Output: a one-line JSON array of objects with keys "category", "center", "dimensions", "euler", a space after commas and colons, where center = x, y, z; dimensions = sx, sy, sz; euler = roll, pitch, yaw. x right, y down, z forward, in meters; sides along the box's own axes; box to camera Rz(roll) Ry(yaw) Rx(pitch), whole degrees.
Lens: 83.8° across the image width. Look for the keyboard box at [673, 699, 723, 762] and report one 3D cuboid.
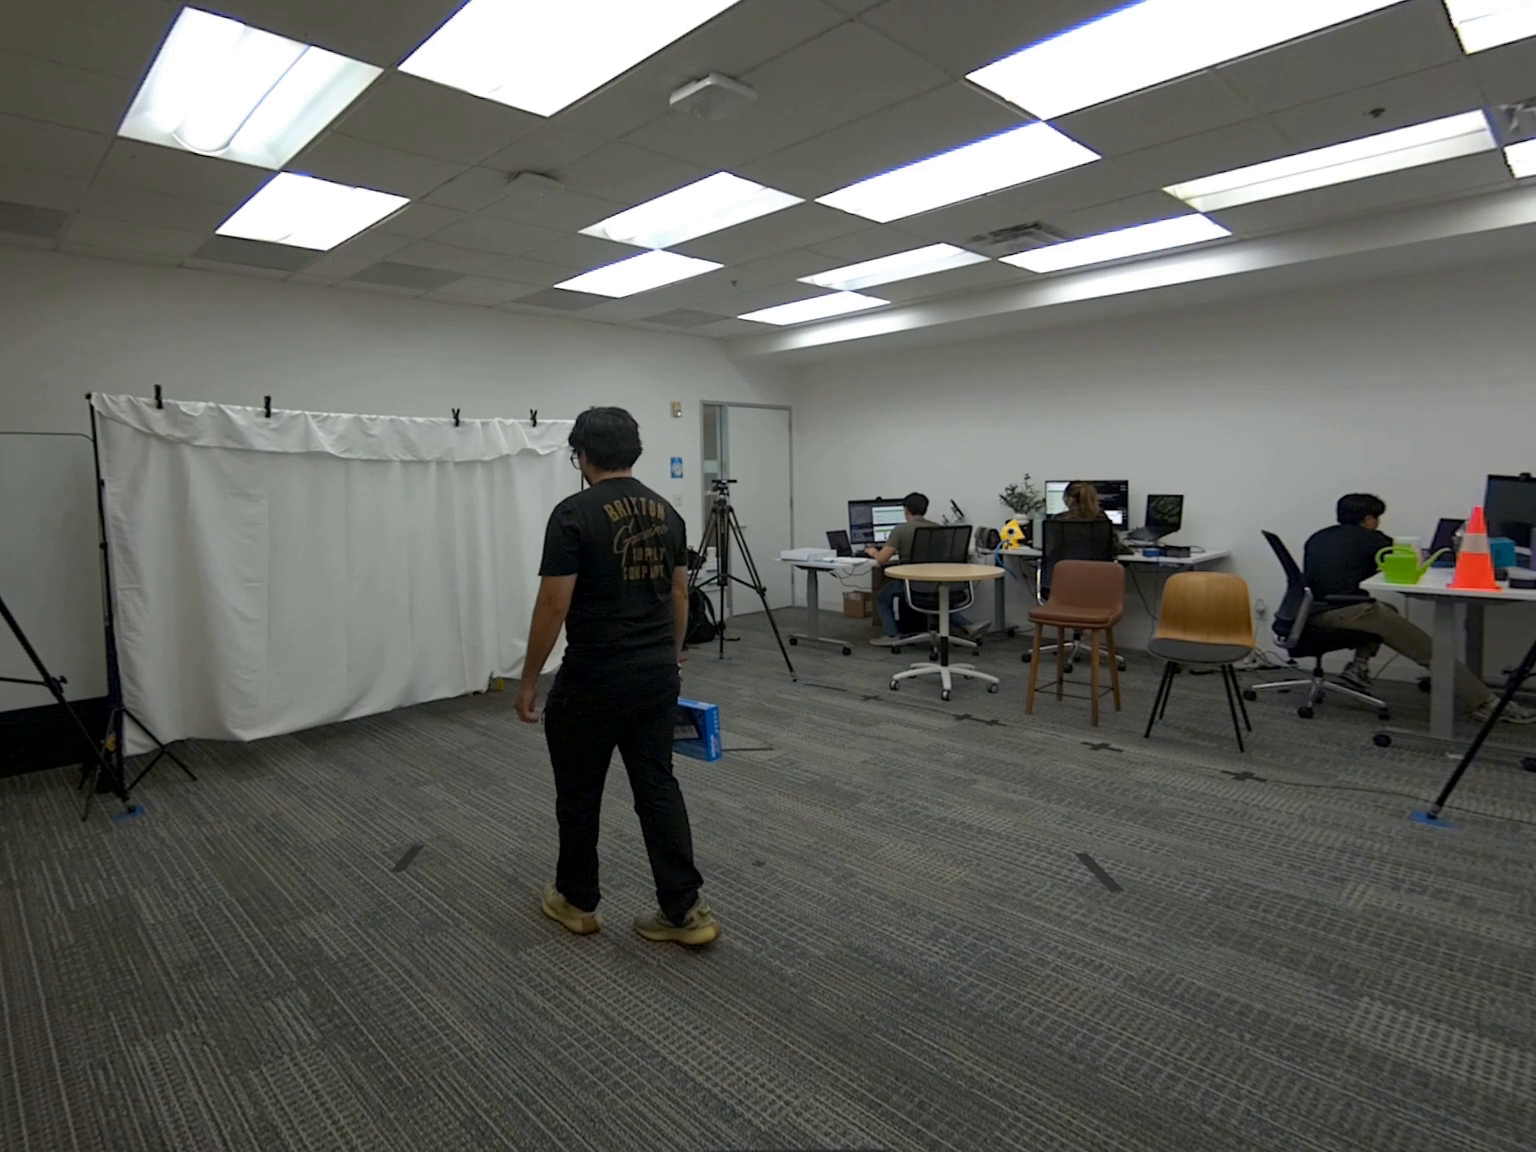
[{"category": "keyboard box", "center": [-0.329, 0.502, 2.899], "dimensions": [0.057, 0.175, 0.450], "euler": [-6, 6, -44]}]
